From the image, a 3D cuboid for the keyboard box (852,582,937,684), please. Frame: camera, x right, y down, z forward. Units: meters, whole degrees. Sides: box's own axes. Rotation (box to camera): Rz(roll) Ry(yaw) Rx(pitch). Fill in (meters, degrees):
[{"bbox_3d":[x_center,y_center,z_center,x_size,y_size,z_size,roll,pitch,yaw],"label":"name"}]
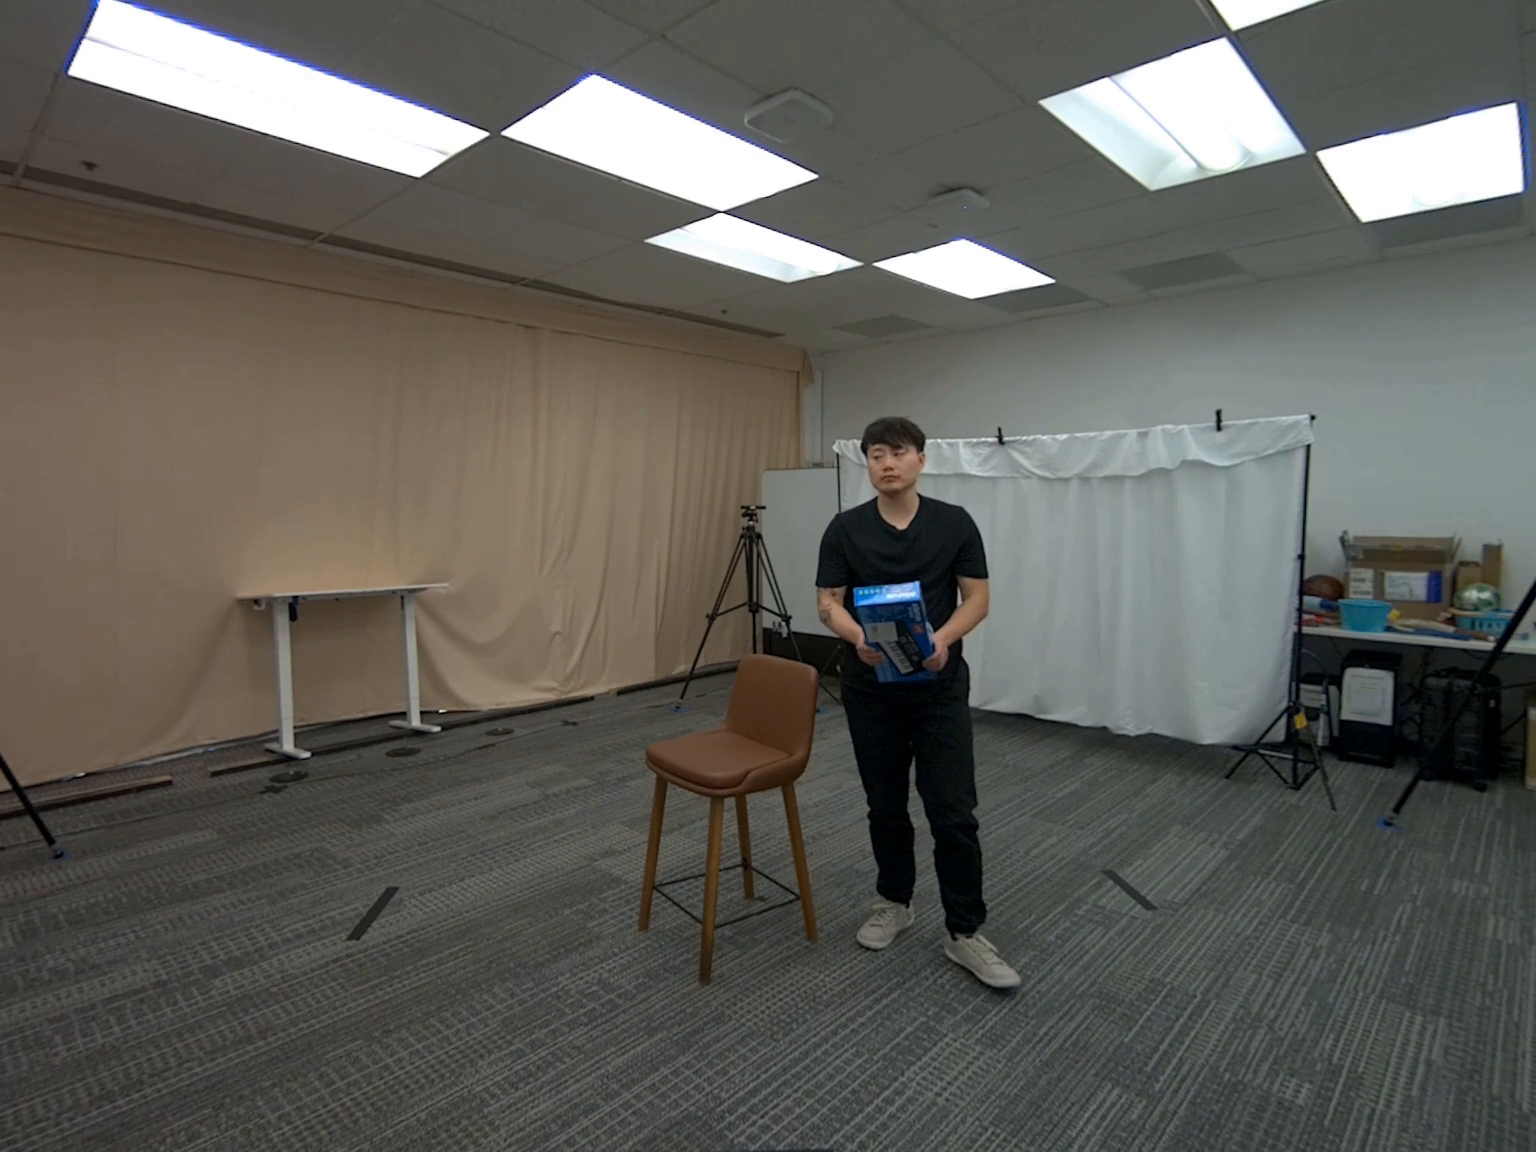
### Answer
[{"bbox_3d":[0.363,0.169,2.346,0.178,0.060,0.424,-5,-36,14],"label":"keyboard box"}]
